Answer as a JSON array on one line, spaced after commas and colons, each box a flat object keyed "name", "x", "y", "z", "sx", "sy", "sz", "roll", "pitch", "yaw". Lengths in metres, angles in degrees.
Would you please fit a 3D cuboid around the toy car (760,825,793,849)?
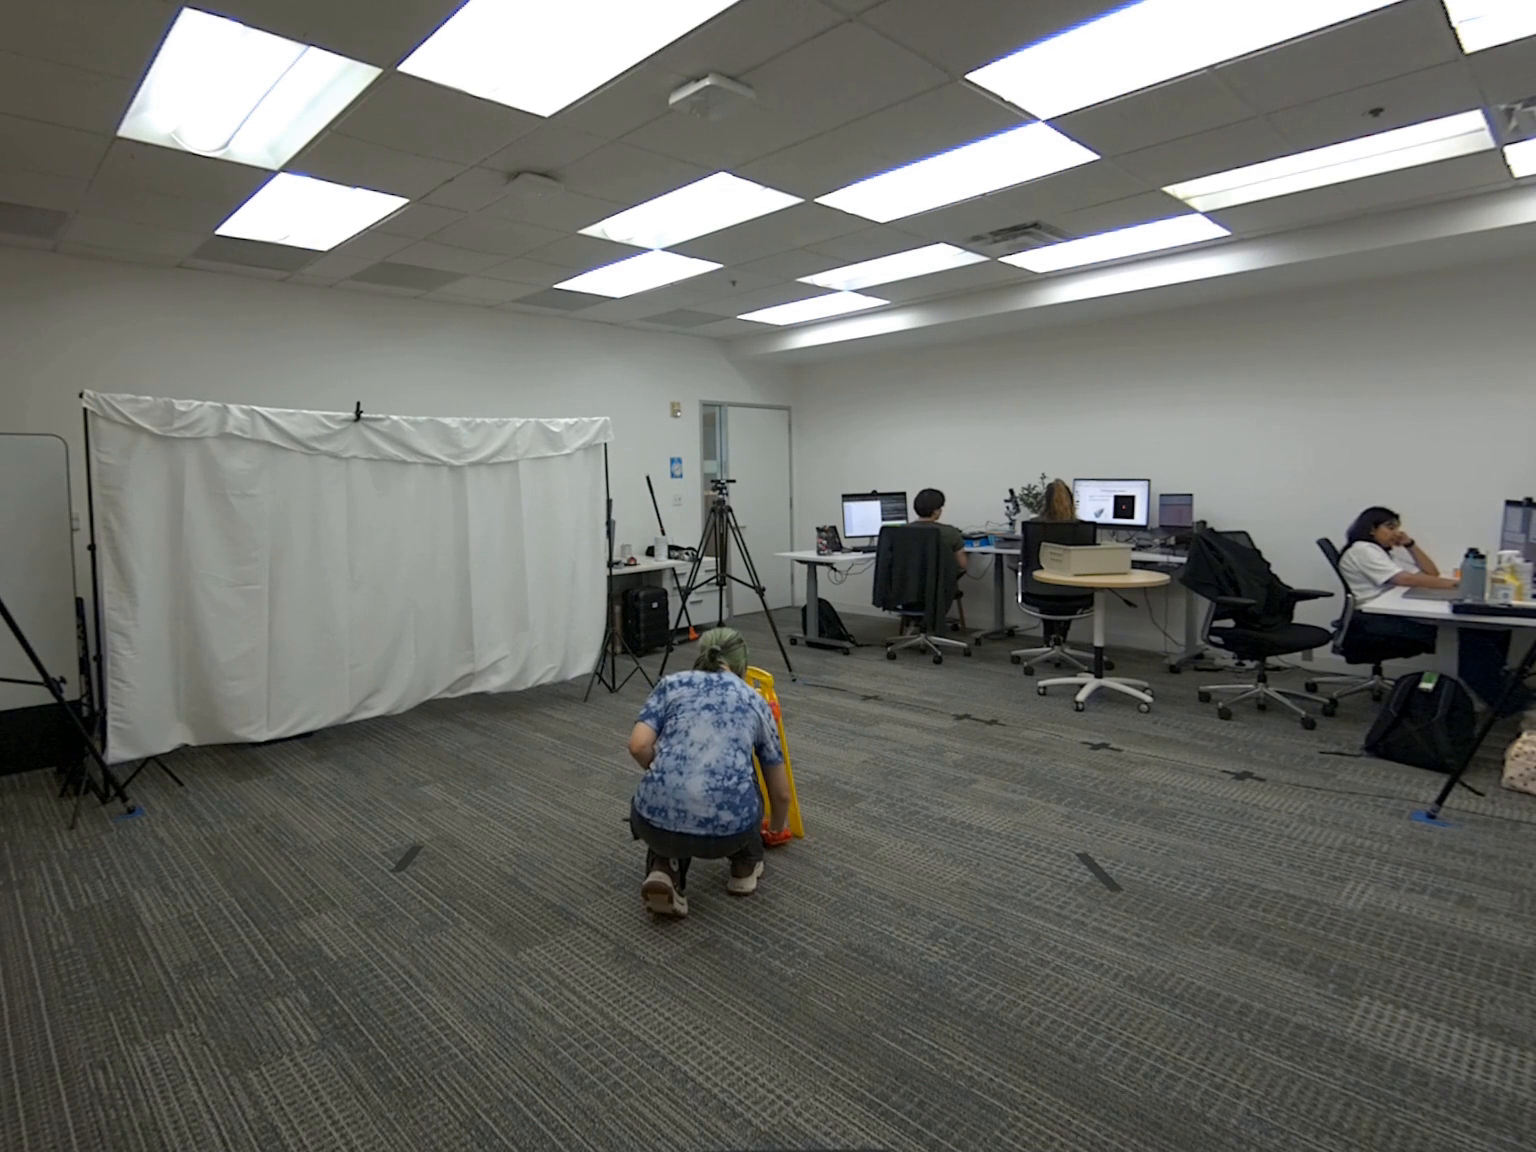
[{"name": "toy car", "x": -0.012, "y": 0.986, "z": 3.320, "sx": 0.127, "sy": 0.083, "sz": 0.260, "roll": -1, "pitch": -2, "yaw": -30}]
